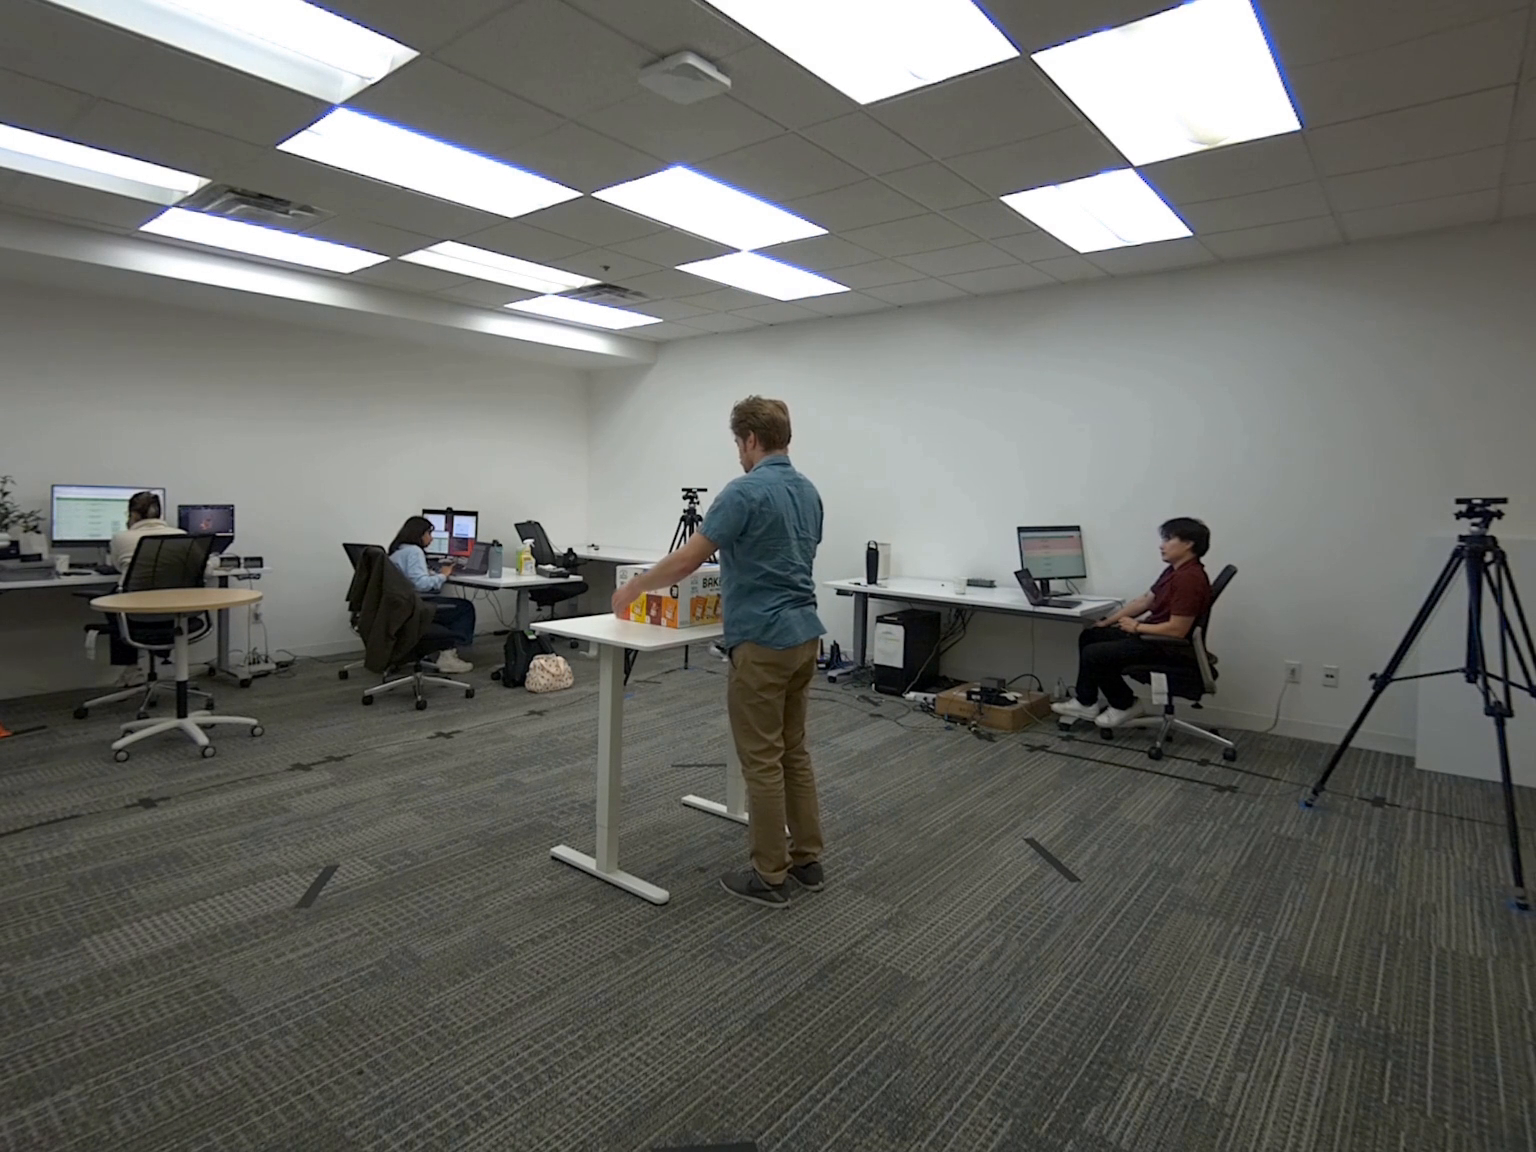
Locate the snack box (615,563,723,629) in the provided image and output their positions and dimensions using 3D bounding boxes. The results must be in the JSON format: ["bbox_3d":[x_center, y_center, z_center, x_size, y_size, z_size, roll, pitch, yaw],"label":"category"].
[{"bbox_3d":[-0.344,0.062,3.324,0.352,0.205,0.393,6,7,39],"label":"snack box"}]
